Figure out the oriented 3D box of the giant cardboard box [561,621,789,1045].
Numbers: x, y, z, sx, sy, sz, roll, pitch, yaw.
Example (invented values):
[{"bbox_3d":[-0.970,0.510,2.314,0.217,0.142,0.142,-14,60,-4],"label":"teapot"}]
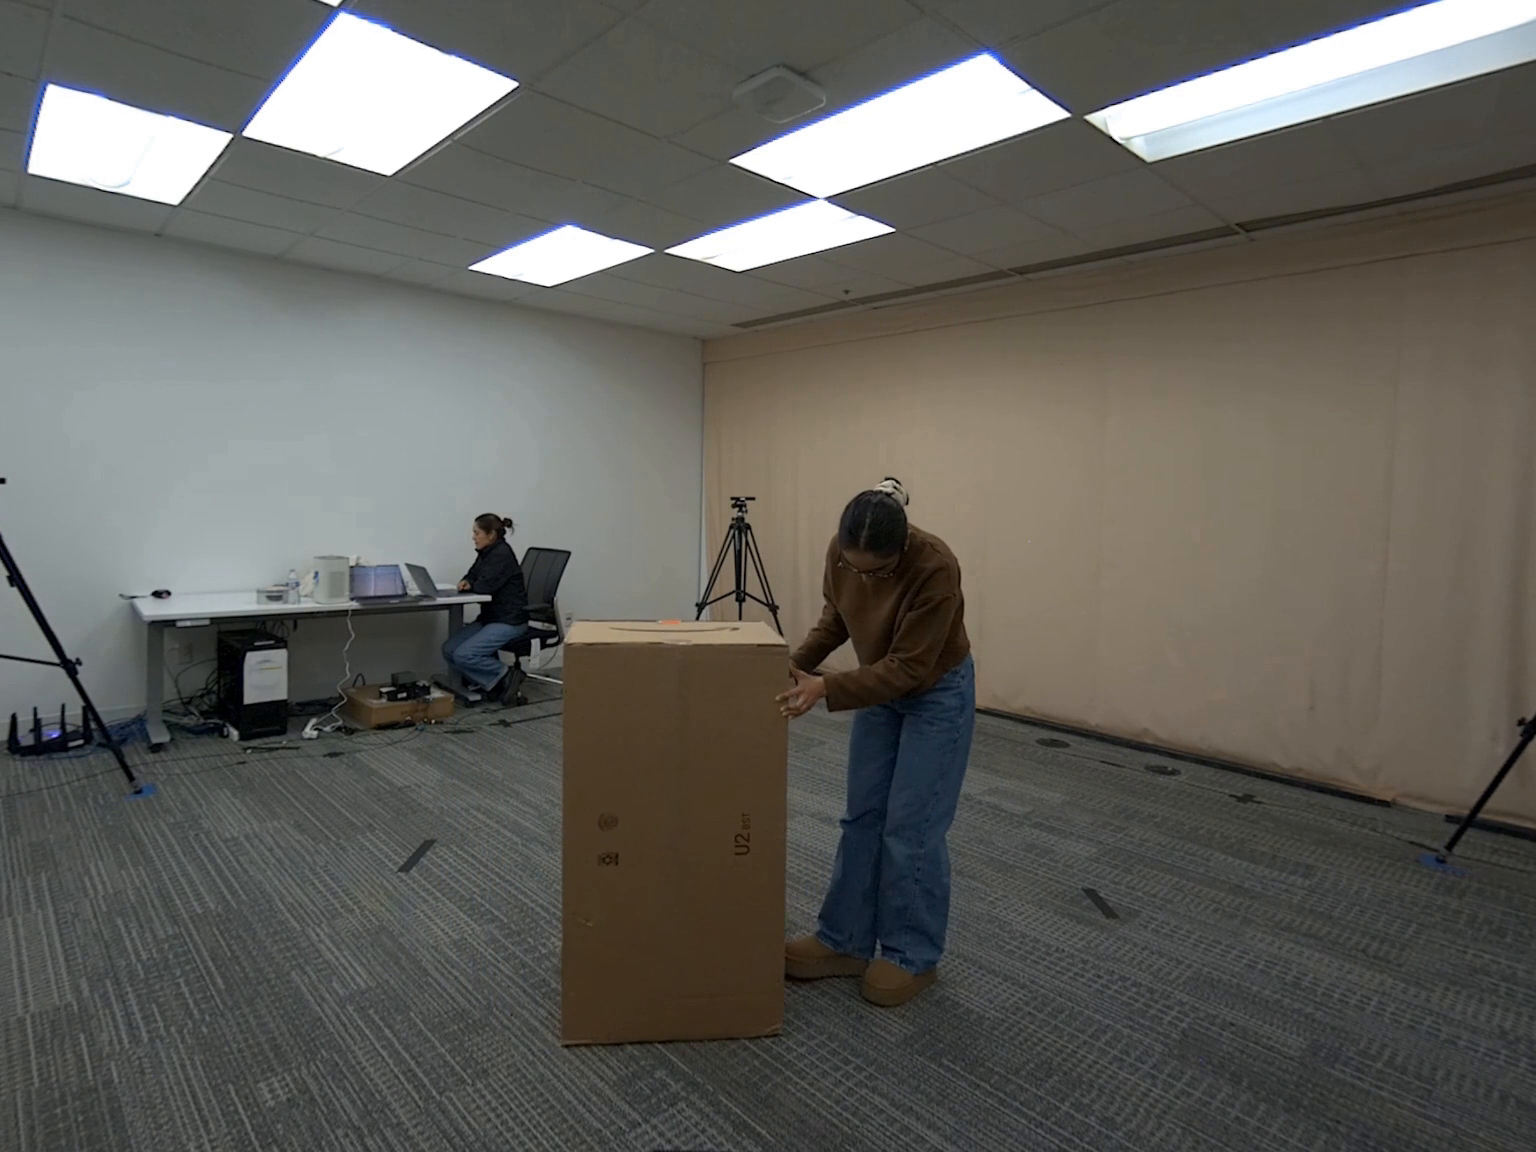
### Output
[{"bbox_3d":[-0.277,0.662,2.341,0.574,1.024,0.429,1,3,-7],"label":"giant cardboard box"}]
